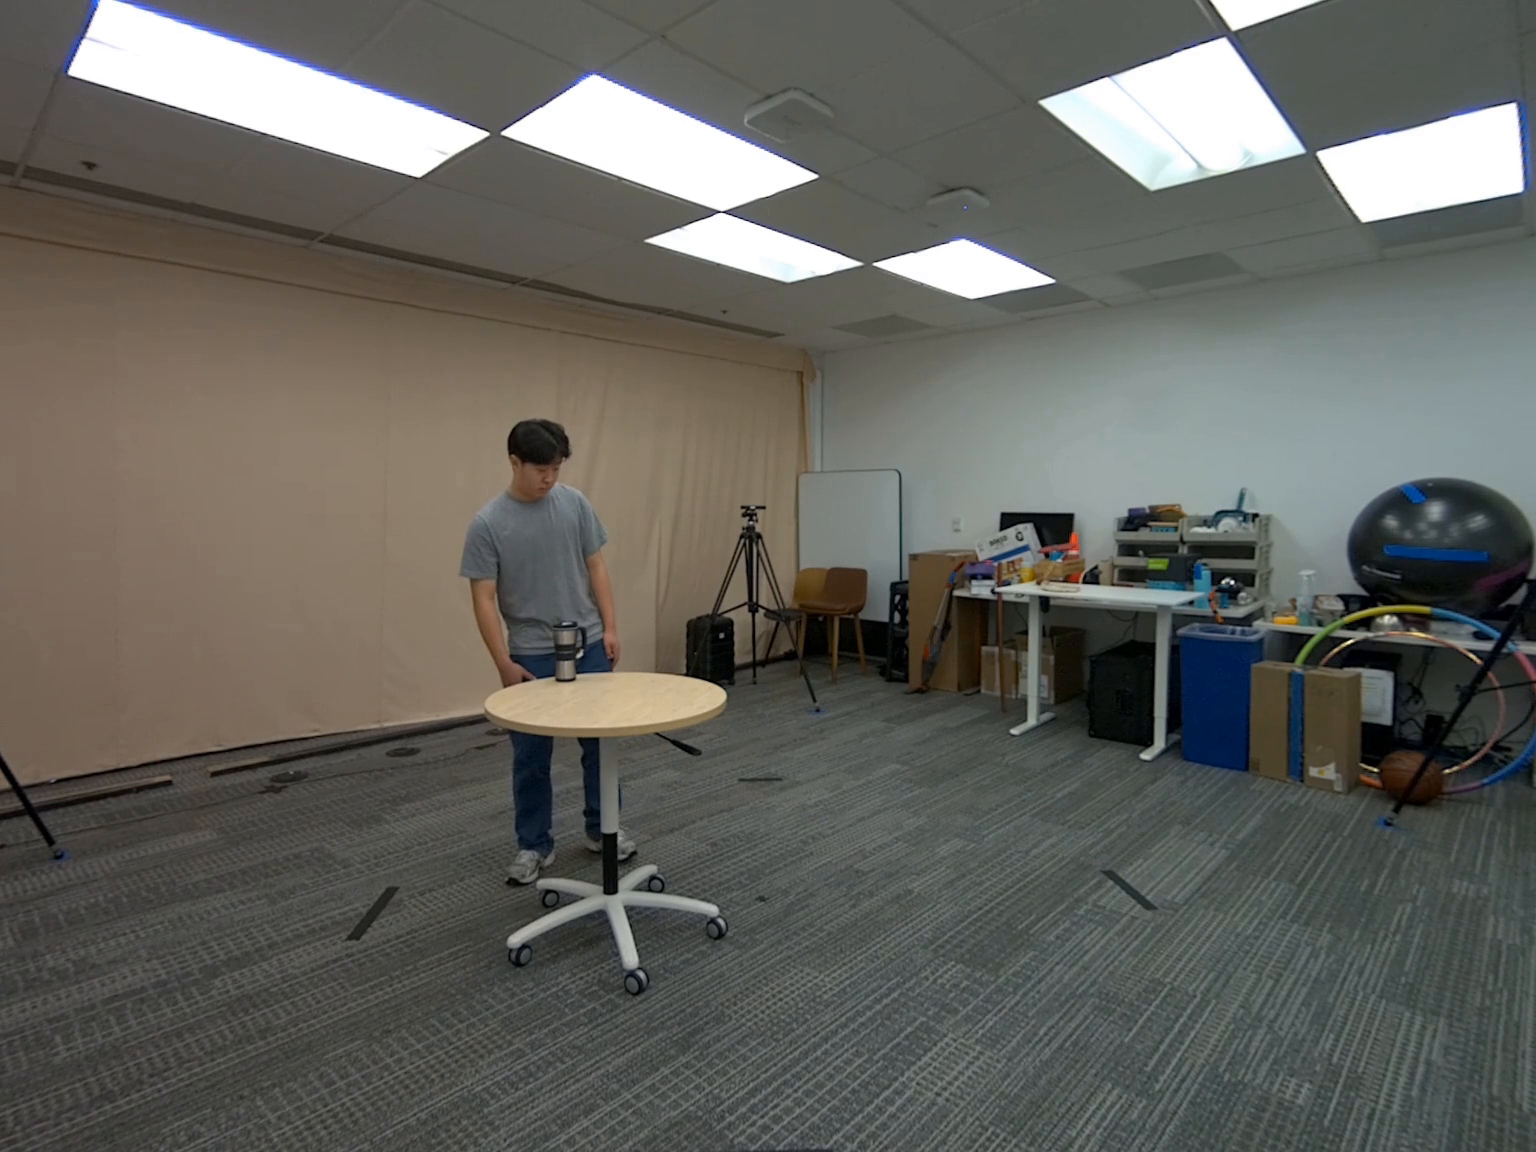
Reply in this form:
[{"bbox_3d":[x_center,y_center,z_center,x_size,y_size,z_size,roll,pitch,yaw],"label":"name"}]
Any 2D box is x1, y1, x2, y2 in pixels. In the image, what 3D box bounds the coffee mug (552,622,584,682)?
[{"bbox_3d":[-0.692,0.265,2.954,0.120,0.203,0.089,-7,2,-20],"label":"coffee mug"}]
